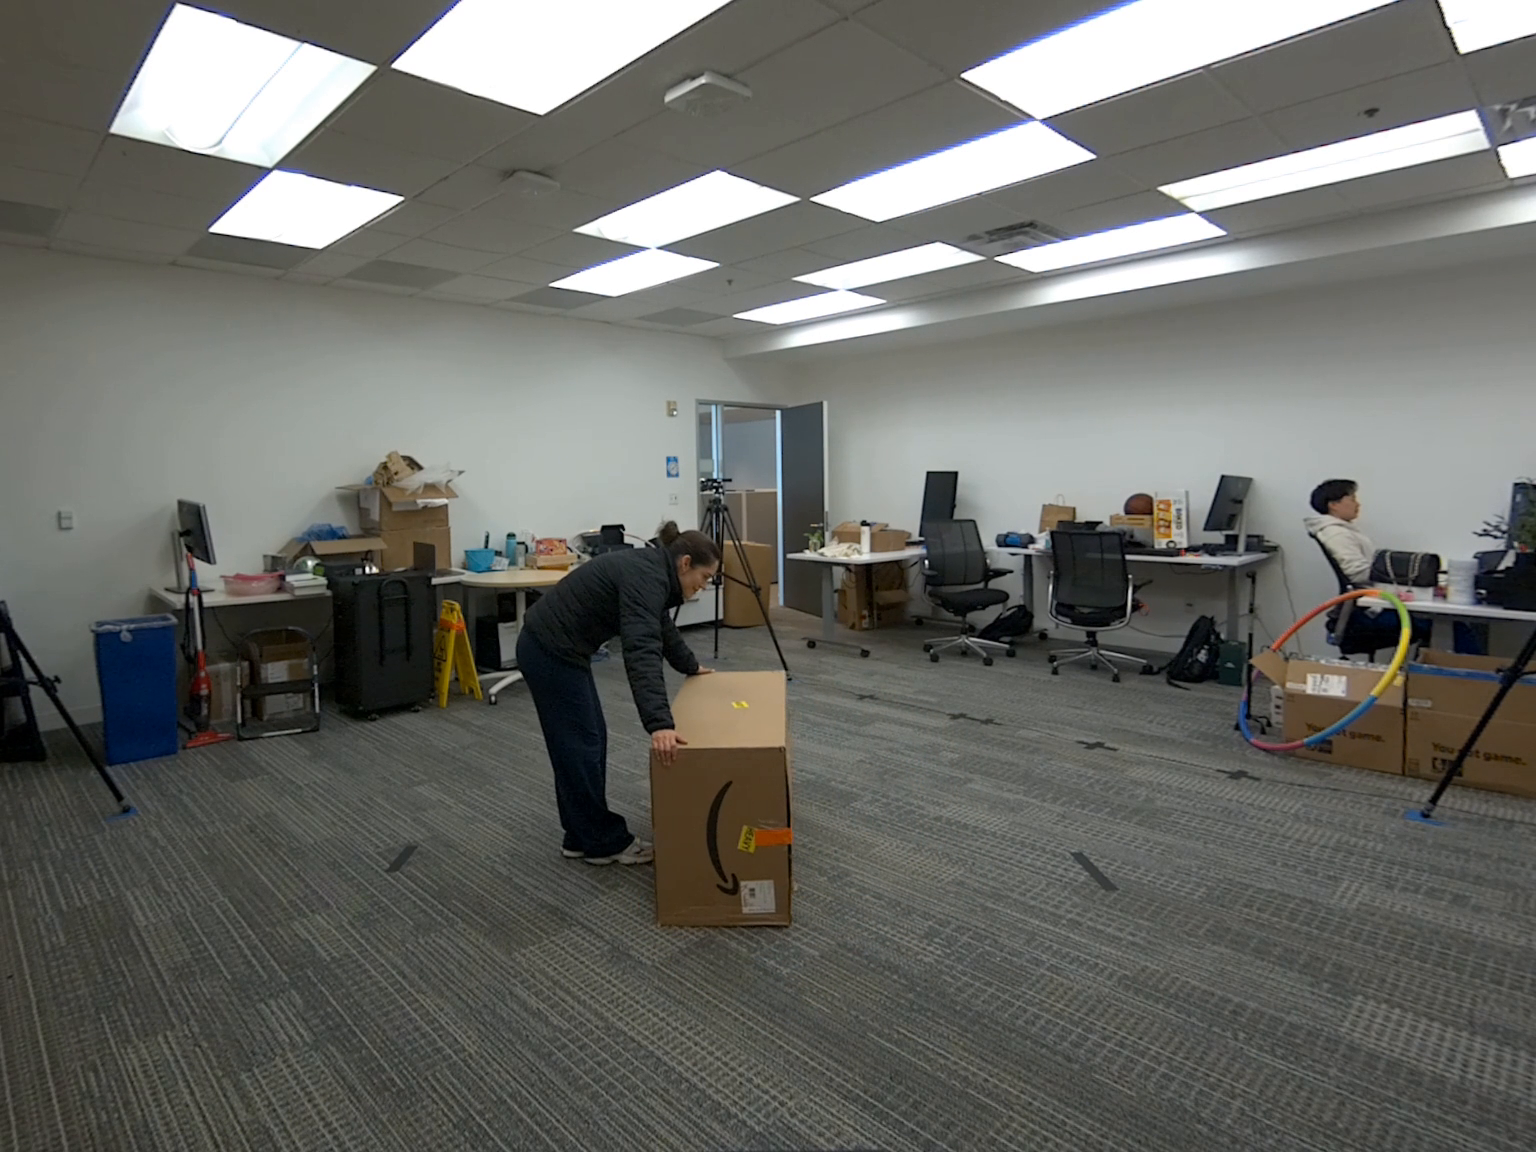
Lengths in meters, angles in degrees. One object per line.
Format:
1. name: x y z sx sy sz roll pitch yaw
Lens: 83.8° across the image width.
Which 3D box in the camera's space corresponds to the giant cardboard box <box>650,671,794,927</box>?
1. giant cardboard box: -0.133 0.752 3.164 0.448 0.581 1.030 -1 6 1
